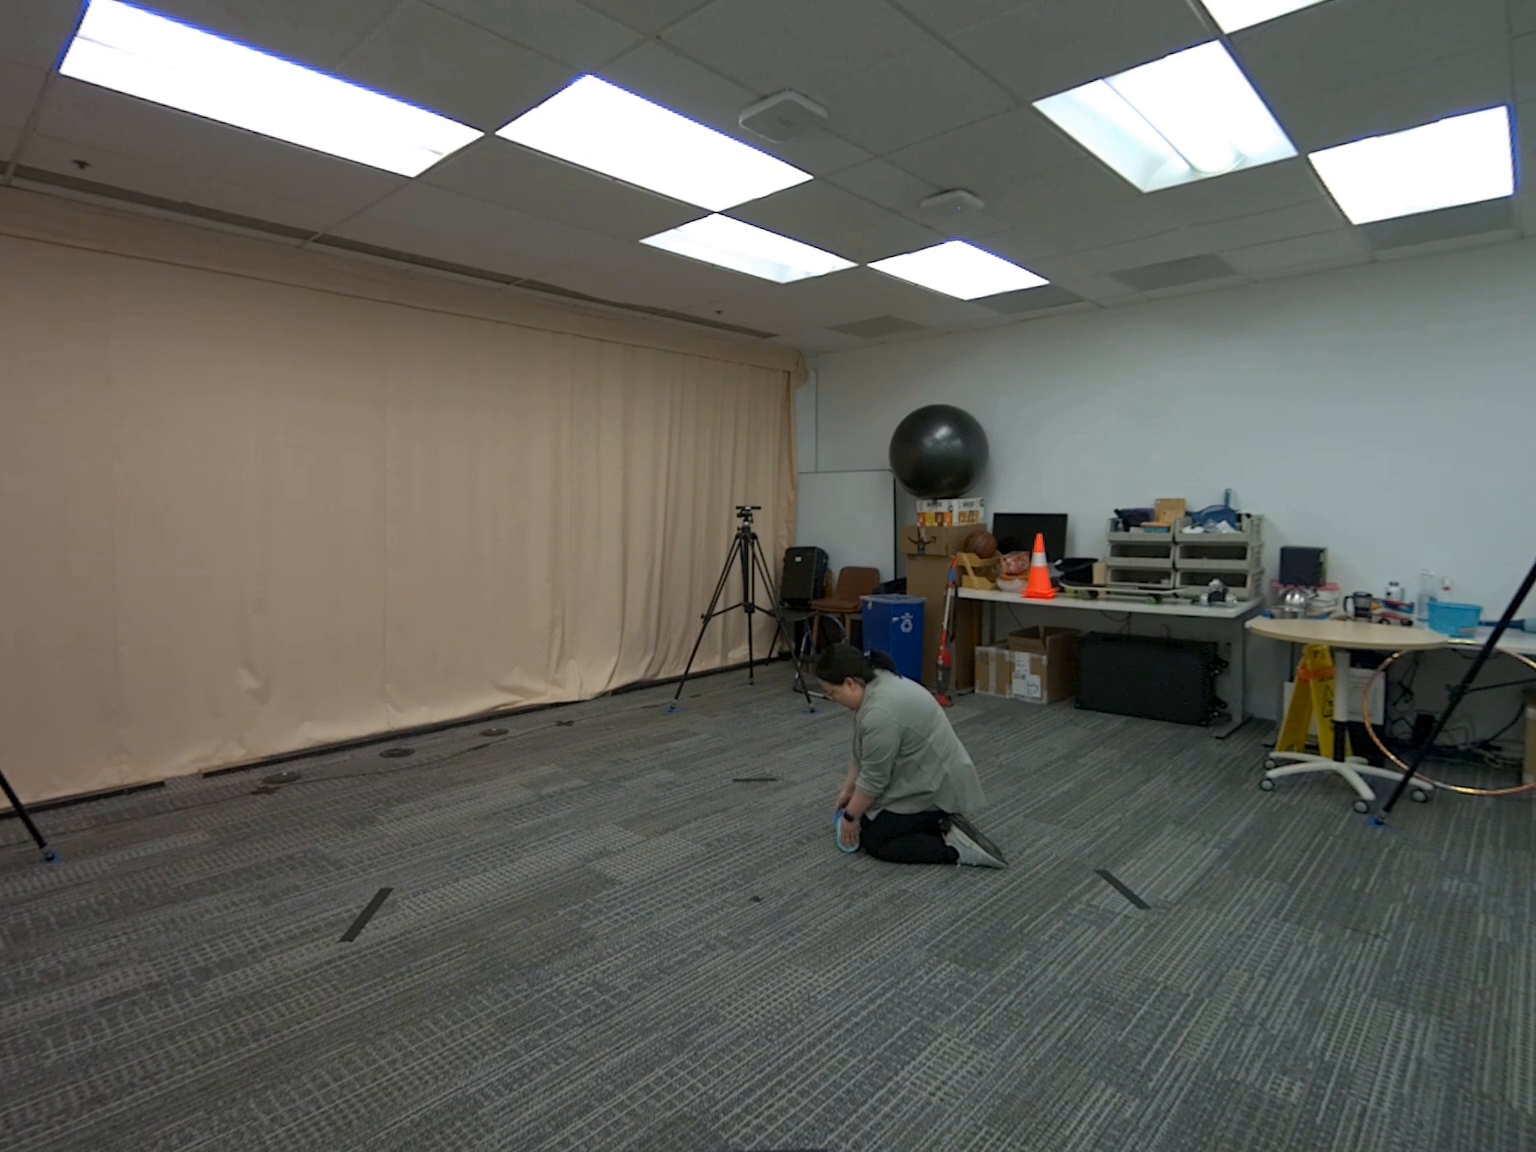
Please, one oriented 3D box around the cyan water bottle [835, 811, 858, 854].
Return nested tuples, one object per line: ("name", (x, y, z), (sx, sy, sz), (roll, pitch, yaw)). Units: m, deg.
("cyan water bottle", (0.337, 1.060, 3.521), (0.092, 0.092, 0.284), (0, 5, 0))
